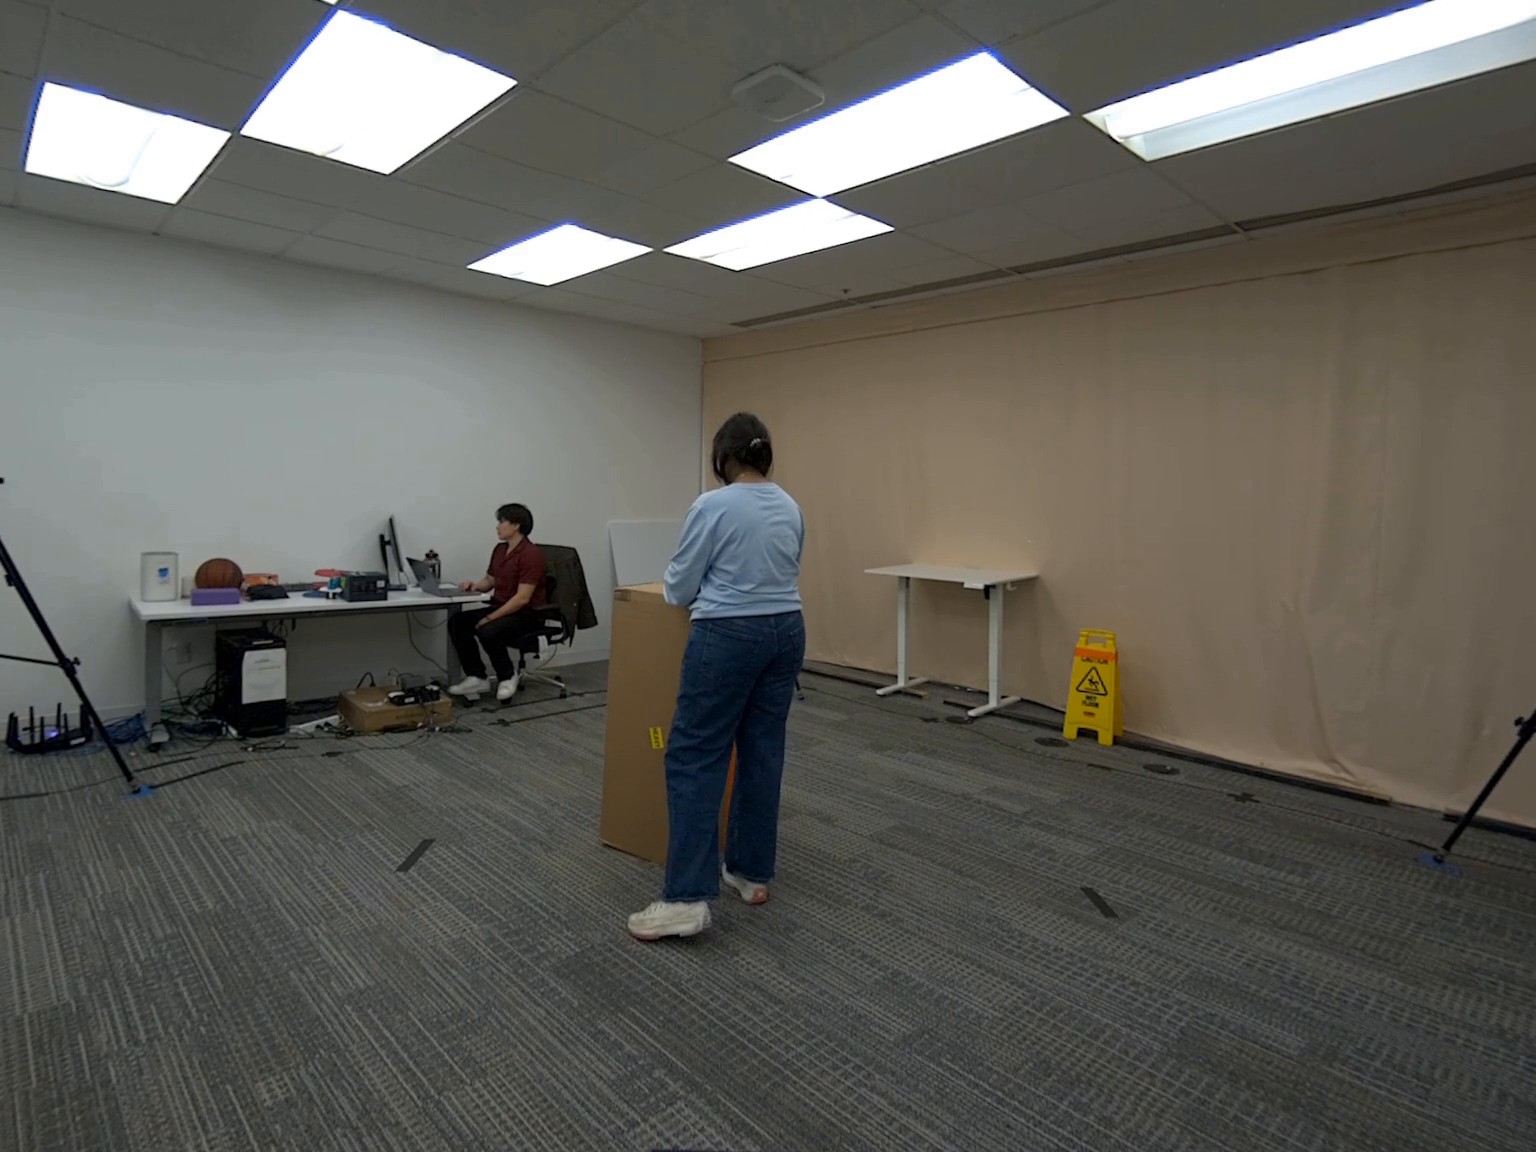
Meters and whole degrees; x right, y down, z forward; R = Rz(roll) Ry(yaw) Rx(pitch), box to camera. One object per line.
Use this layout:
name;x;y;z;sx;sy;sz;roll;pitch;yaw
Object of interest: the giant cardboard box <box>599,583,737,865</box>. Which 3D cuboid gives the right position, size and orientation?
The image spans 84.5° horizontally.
giant cardboard box;-0.329;0.558;3.437;0.457;1.024;0.572;5;4;29
